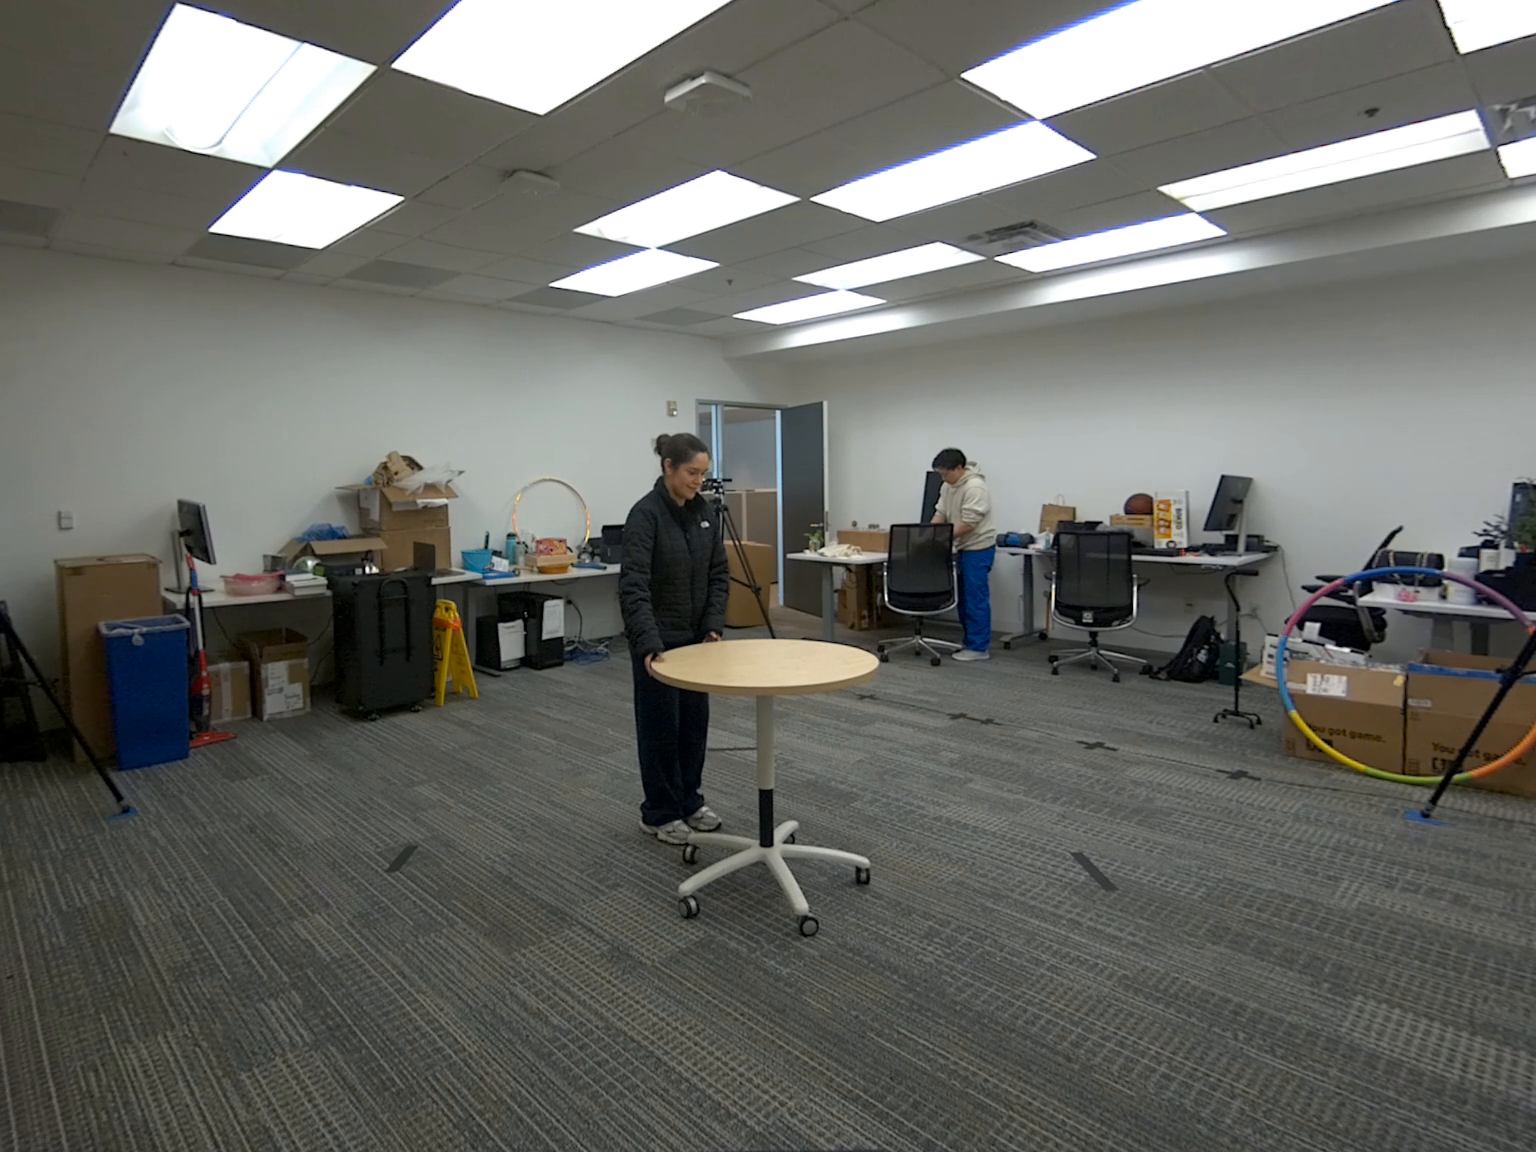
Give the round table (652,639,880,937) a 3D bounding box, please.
[{"bbox_3d":[0.001,0.669,2.940,0.784,0.783,0.789,-1,5,-2],"label":"round table"}]
